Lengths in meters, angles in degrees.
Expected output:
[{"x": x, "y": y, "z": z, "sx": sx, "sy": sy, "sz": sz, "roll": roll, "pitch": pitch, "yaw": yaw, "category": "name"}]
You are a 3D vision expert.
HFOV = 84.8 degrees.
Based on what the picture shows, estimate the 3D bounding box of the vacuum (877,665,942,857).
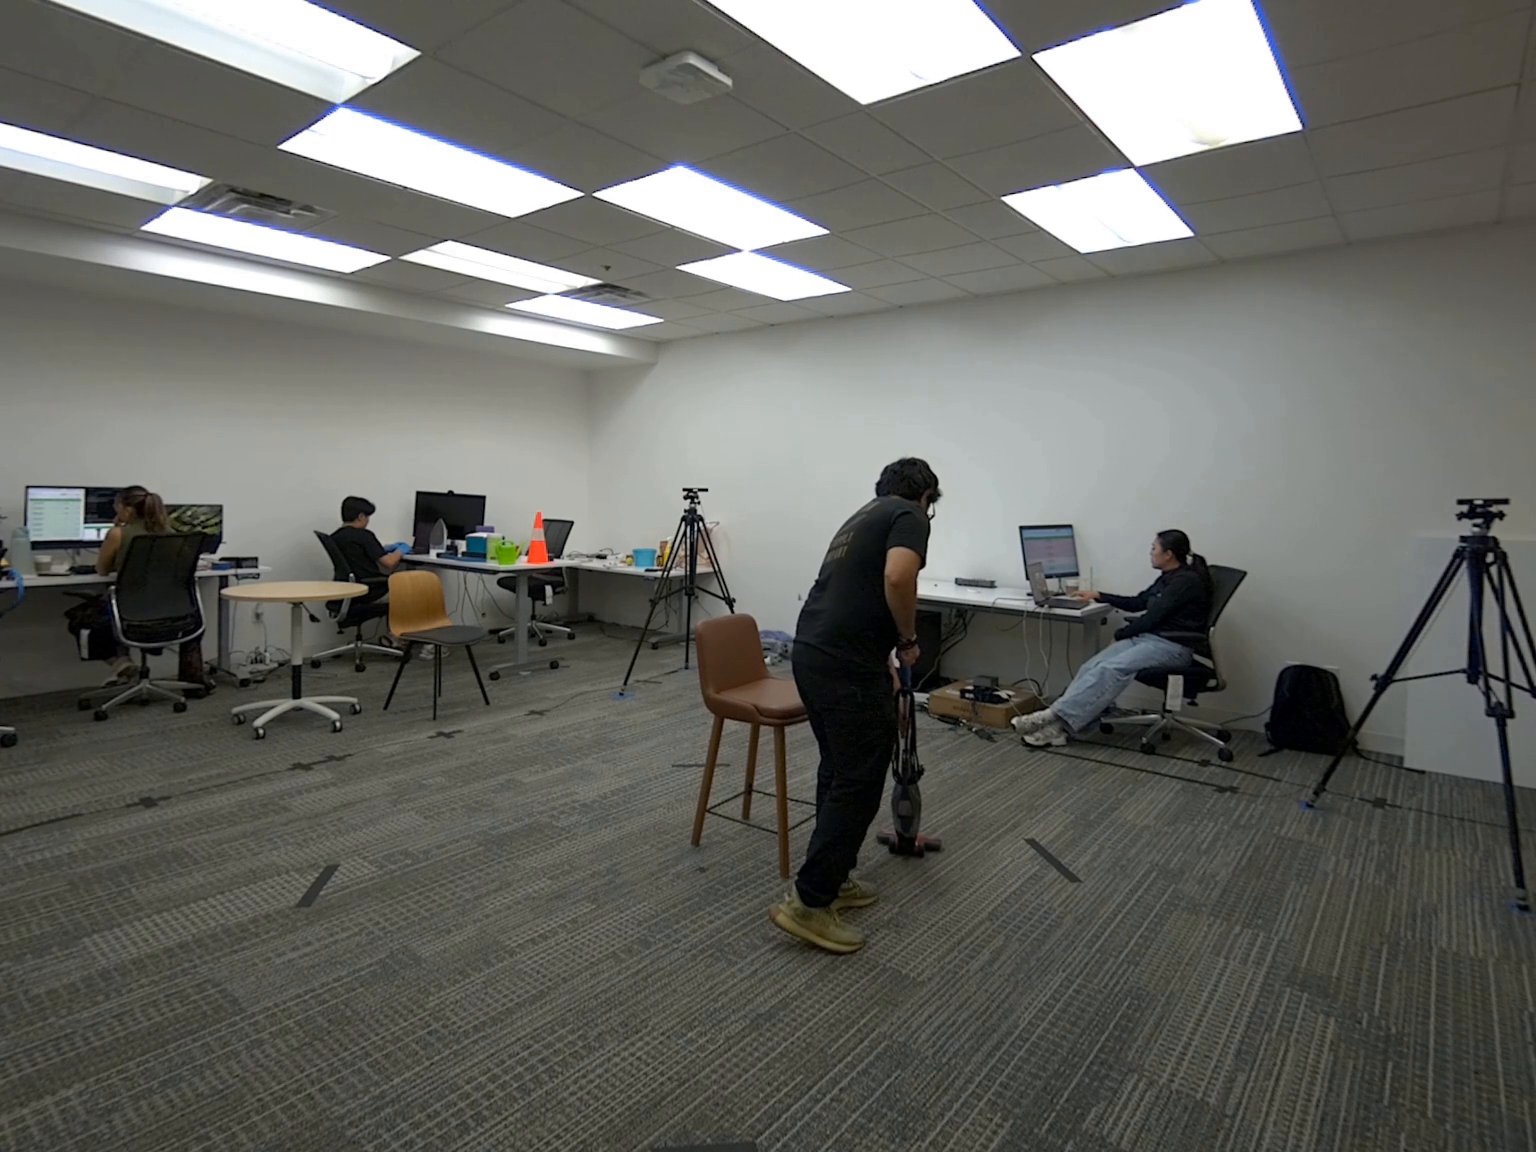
[{"x": 0.488, "y": 0.647, "z": 3.038, "sx": 0.258, "sy": 1.017, "sz": 0.145, "roll": 6, "pitch": 37, "yaw": 17, "category": "vacuum"}]
